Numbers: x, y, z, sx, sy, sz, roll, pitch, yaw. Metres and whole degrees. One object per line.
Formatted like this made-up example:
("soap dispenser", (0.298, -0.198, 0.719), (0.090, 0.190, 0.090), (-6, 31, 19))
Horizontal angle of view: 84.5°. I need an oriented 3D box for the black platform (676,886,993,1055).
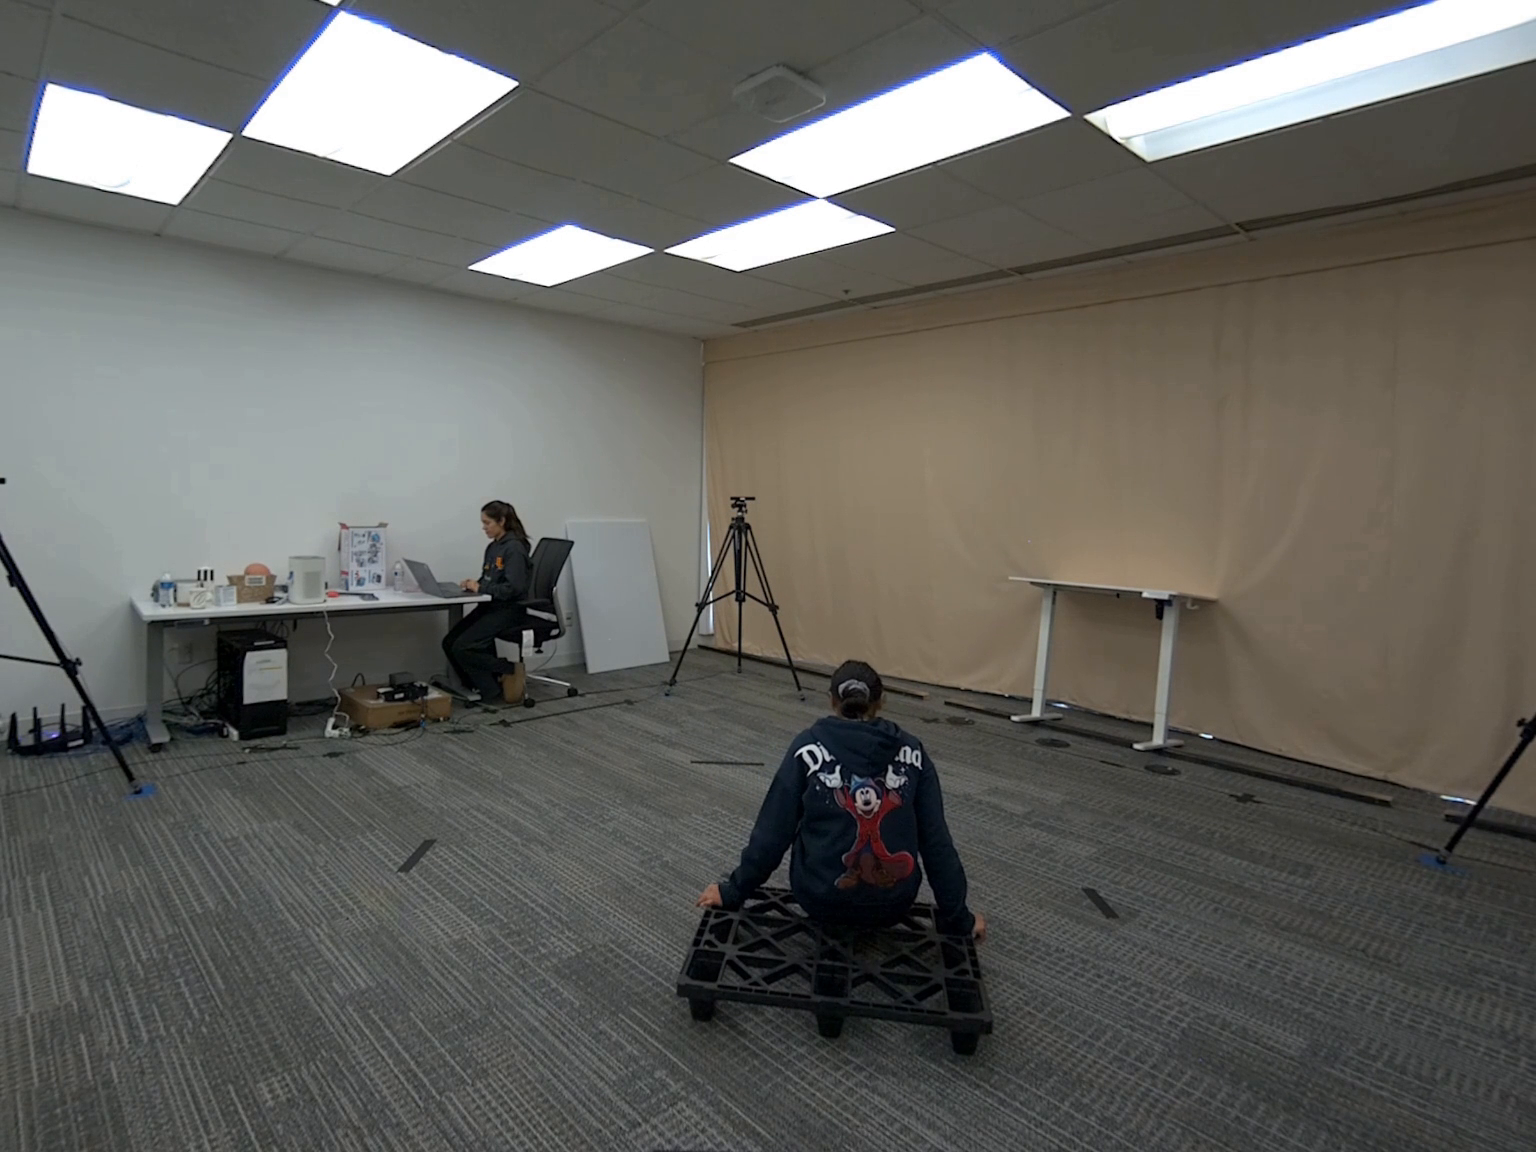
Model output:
("black platform", (0.182, 1.109, 2.402), (0.811, 0.143, 0.604), (2, 7, 7))
